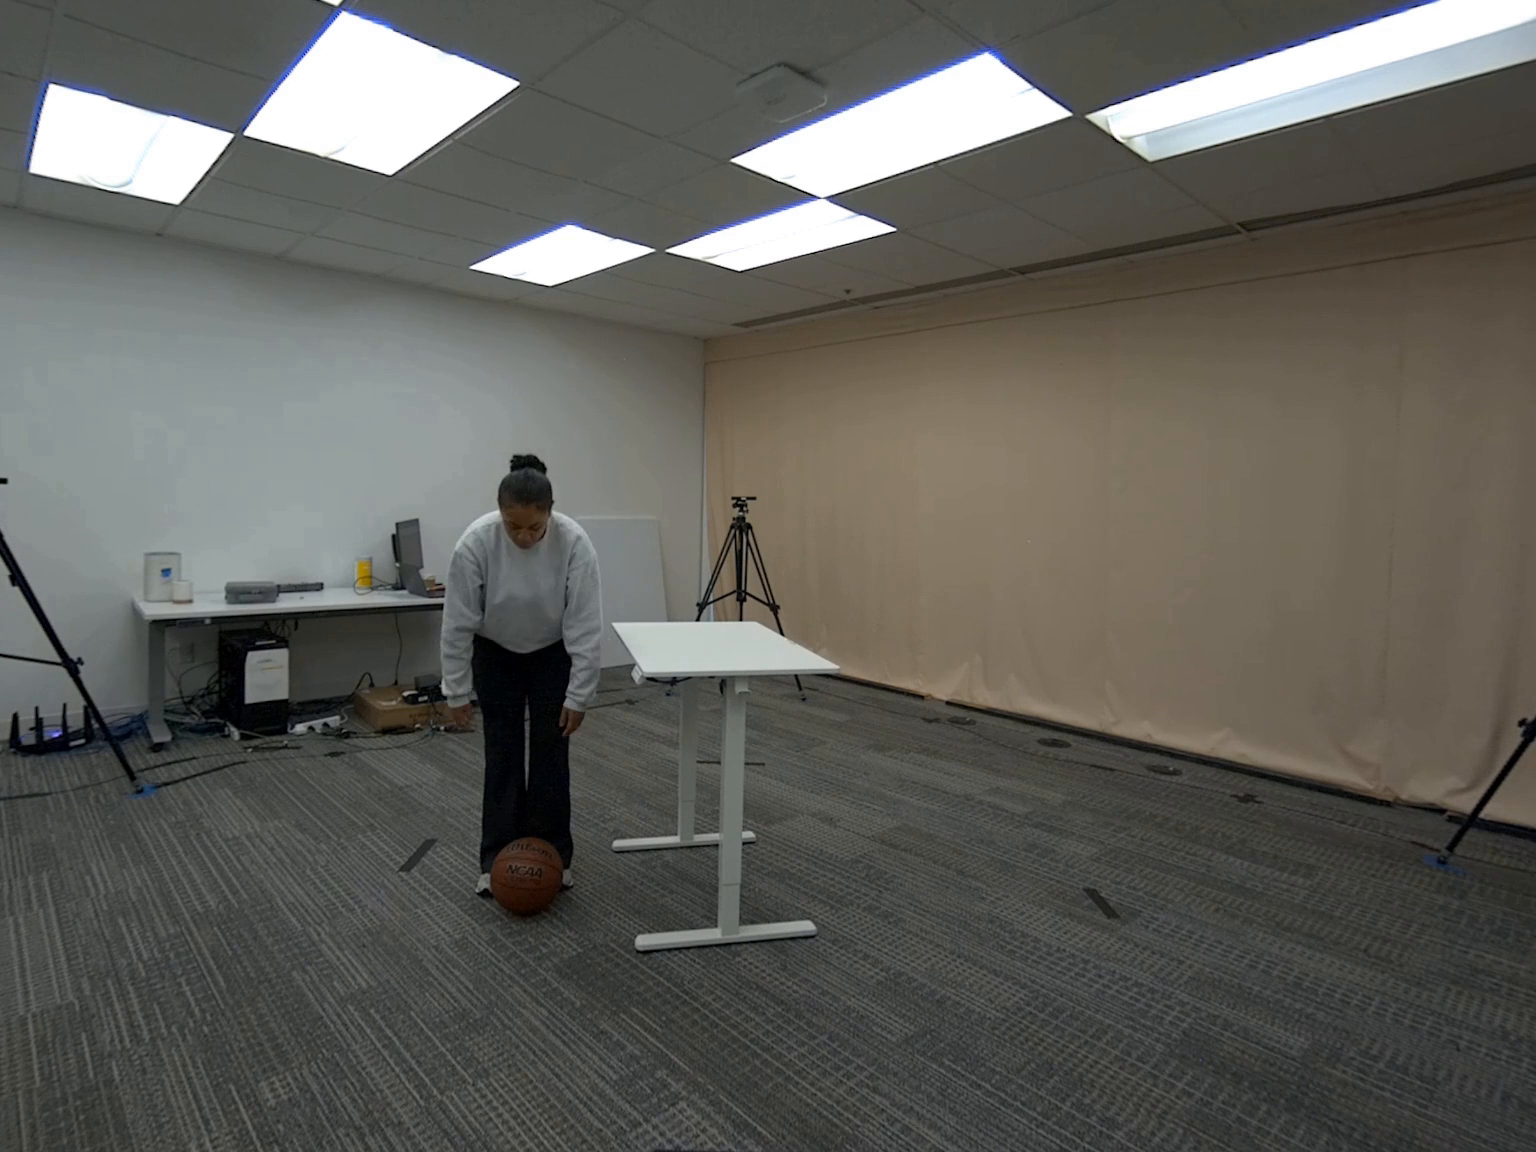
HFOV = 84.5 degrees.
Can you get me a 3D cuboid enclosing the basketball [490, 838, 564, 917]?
[{"bbox_3d":[-0.812,1.001,2.808,0.236,0.235,0.237,1,4,-1],"label":"basketball"}]
